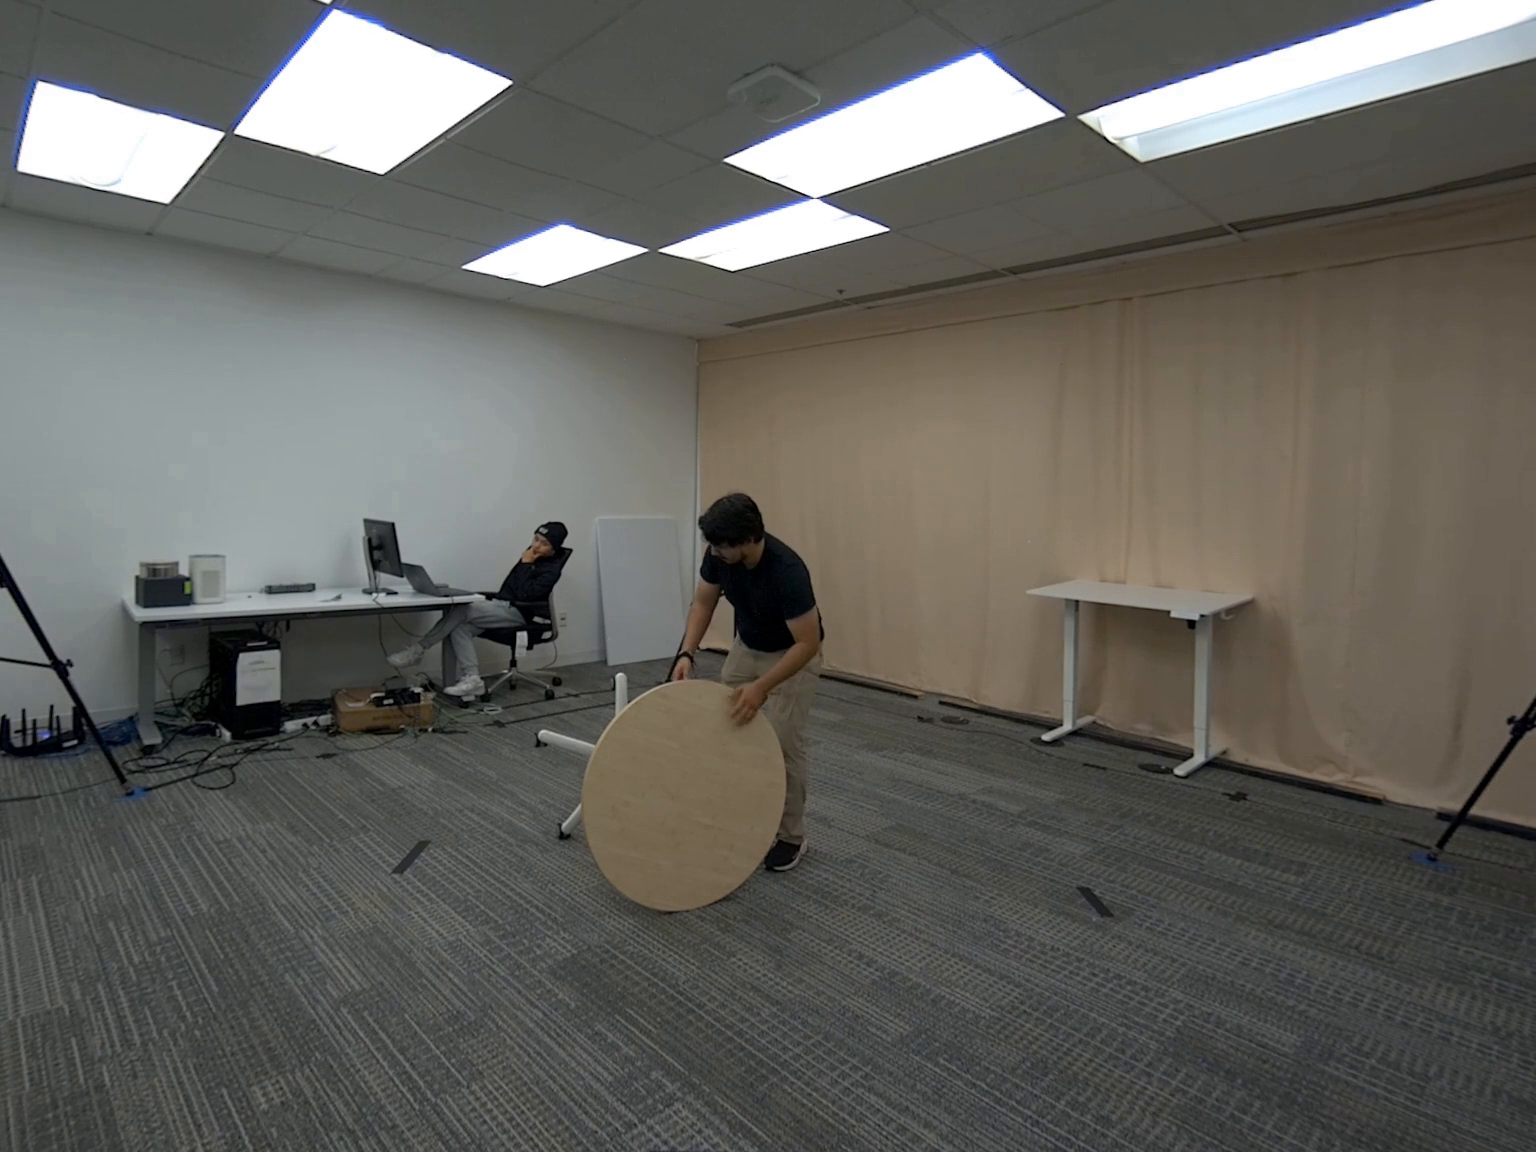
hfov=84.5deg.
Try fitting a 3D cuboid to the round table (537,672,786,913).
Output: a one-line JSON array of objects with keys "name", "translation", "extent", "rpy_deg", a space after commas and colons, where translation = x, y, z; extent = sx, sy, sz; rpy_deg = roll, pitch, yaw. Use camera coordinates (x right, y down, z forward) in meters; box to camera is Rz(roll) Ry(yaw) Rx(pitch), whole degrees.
[{"name": "round table", "translation": [-0.476, 0.755, 3.210], "extent": [0.769, 0.787, 0.801], "rpy_deg": [-1, -3, -30]}]
